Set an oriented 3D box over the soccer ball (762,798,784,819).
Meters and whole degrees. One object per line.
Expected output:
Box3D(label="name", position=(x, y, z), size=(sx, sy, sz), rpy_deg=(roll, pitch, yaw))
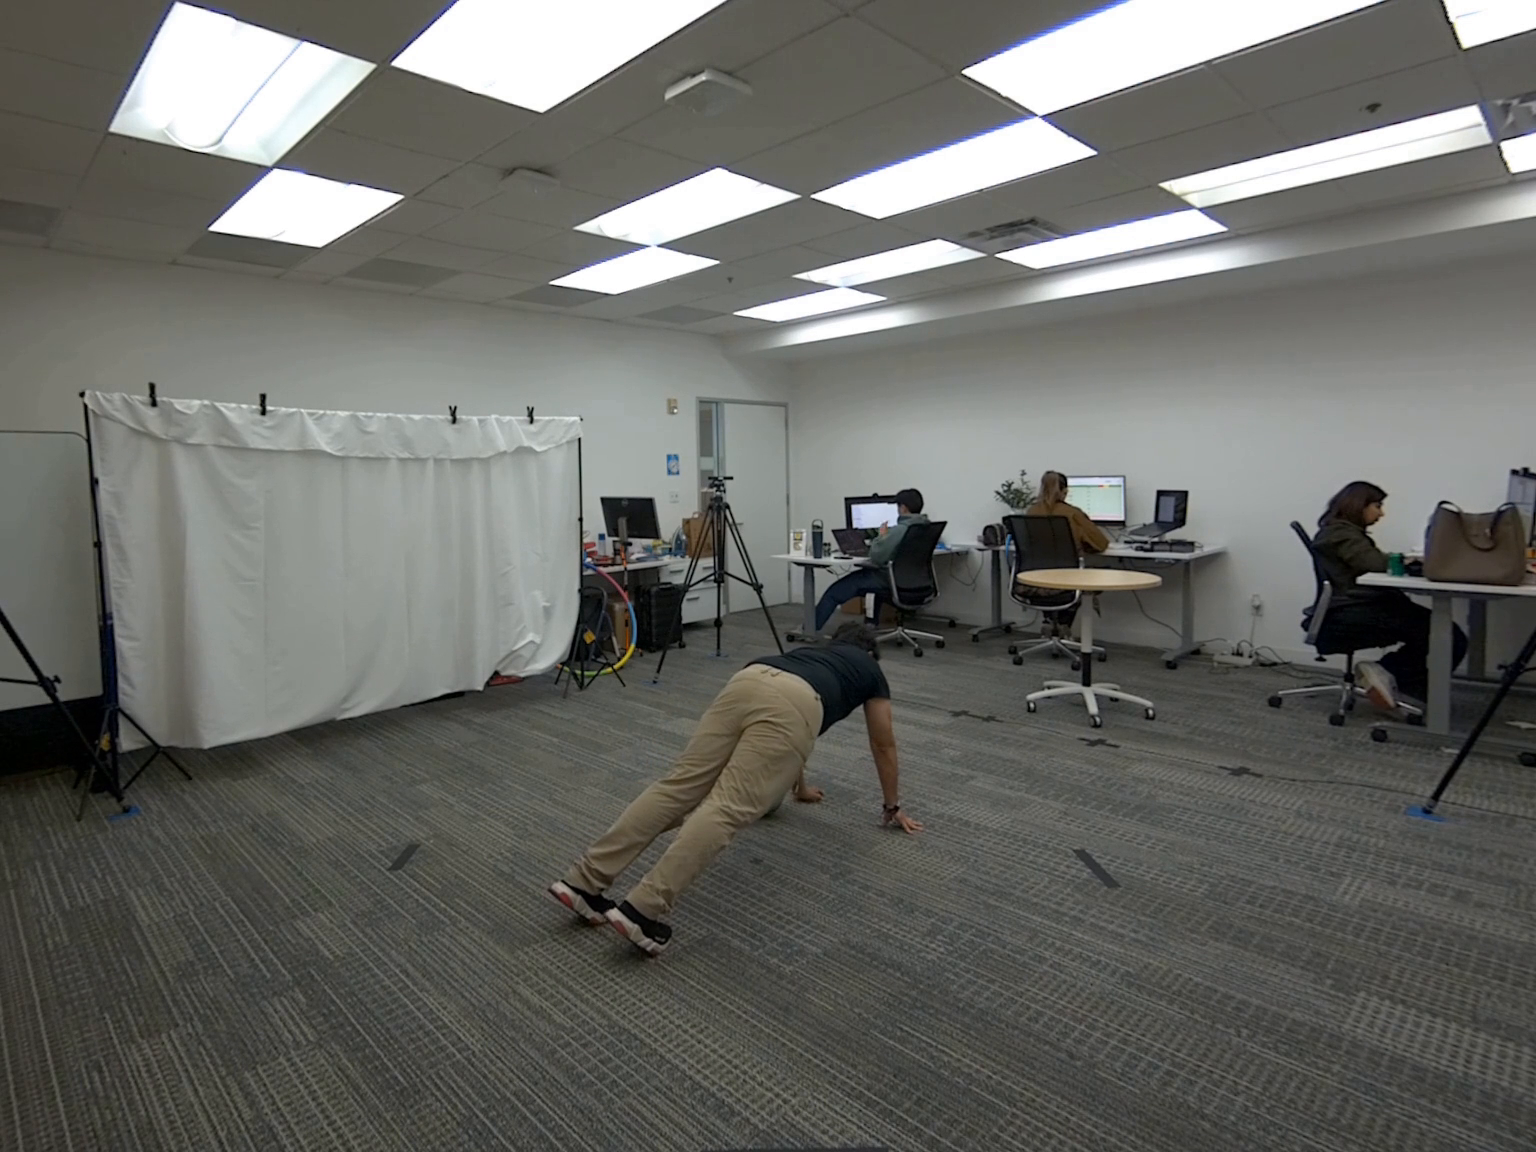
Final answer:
Box3D(label="soccer ball", position=(-0.018, 0.894, 3.540), size=(0.187, 0.187, 0.188), rpy_deg=(-1, 5, -2))
